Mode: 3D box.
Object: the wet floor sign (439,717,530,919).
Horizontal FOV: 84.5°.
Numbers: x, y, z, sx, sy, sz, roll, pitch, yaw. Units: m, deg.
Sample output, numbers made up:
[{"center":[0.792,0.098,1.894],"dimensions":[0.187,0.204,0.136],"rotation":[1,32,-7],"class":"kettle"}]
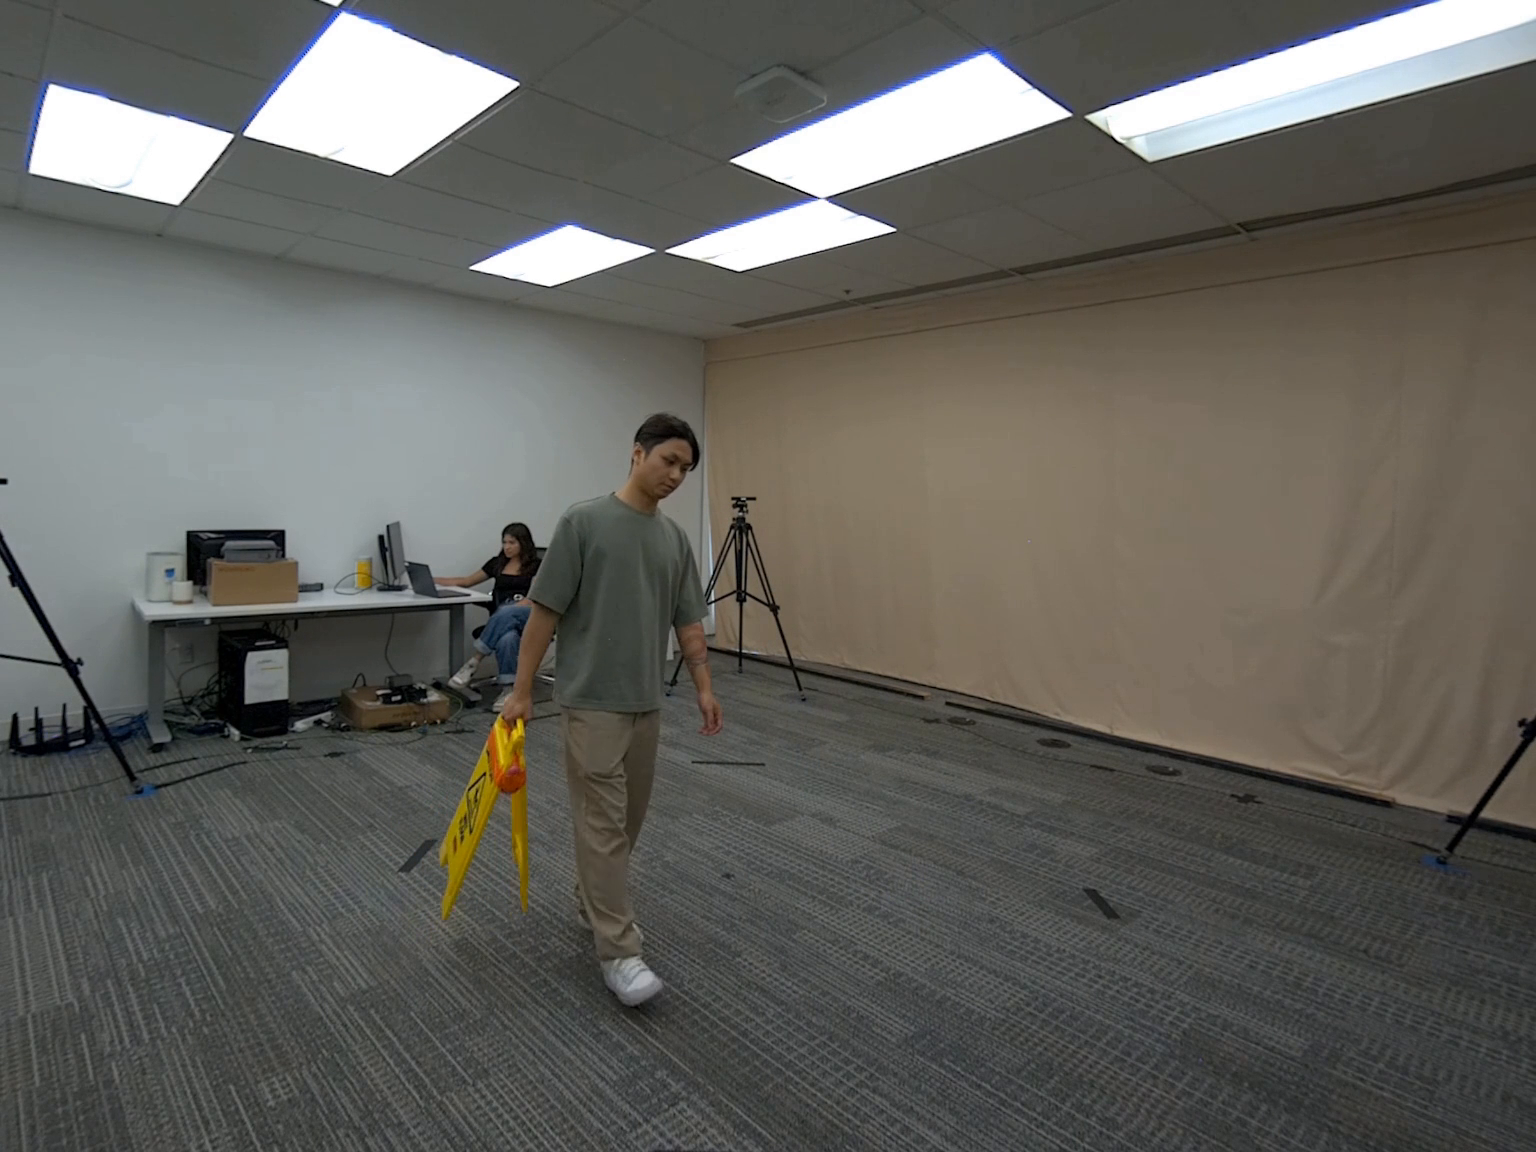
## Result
[{"center":[-0.796,0.679,2.496],"dimensions":[0.284,0.640,0.291],"rotation":[7,24,-26],"class":"wet floor sign"}]
